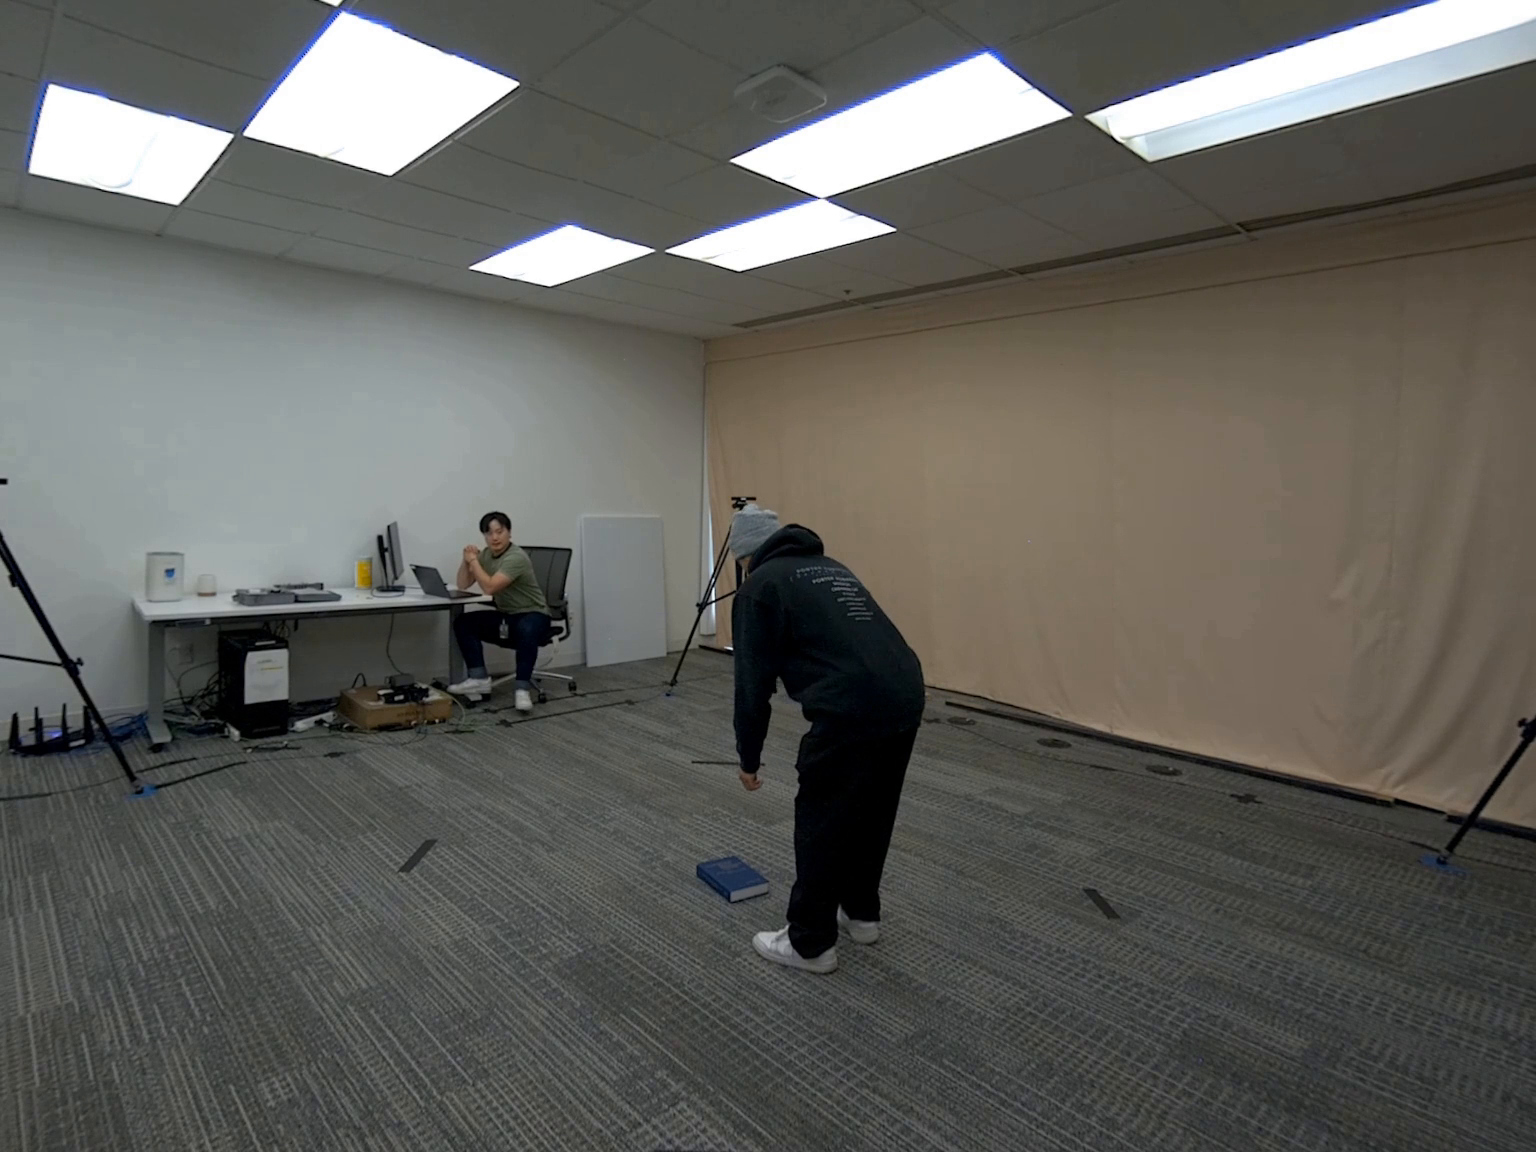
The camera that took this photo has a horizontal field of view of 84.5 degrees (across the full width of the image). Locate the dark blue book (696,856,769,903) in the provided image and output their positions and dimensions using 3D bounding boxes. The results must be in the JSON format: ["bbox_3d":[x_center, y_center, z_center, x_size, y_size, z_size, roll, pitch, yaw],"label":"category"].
[{"bbox_3d":[-0.135,1.089,3.032,0.160,0.045,0.251,-2,6,-33],"label":"dark blue book"}]
